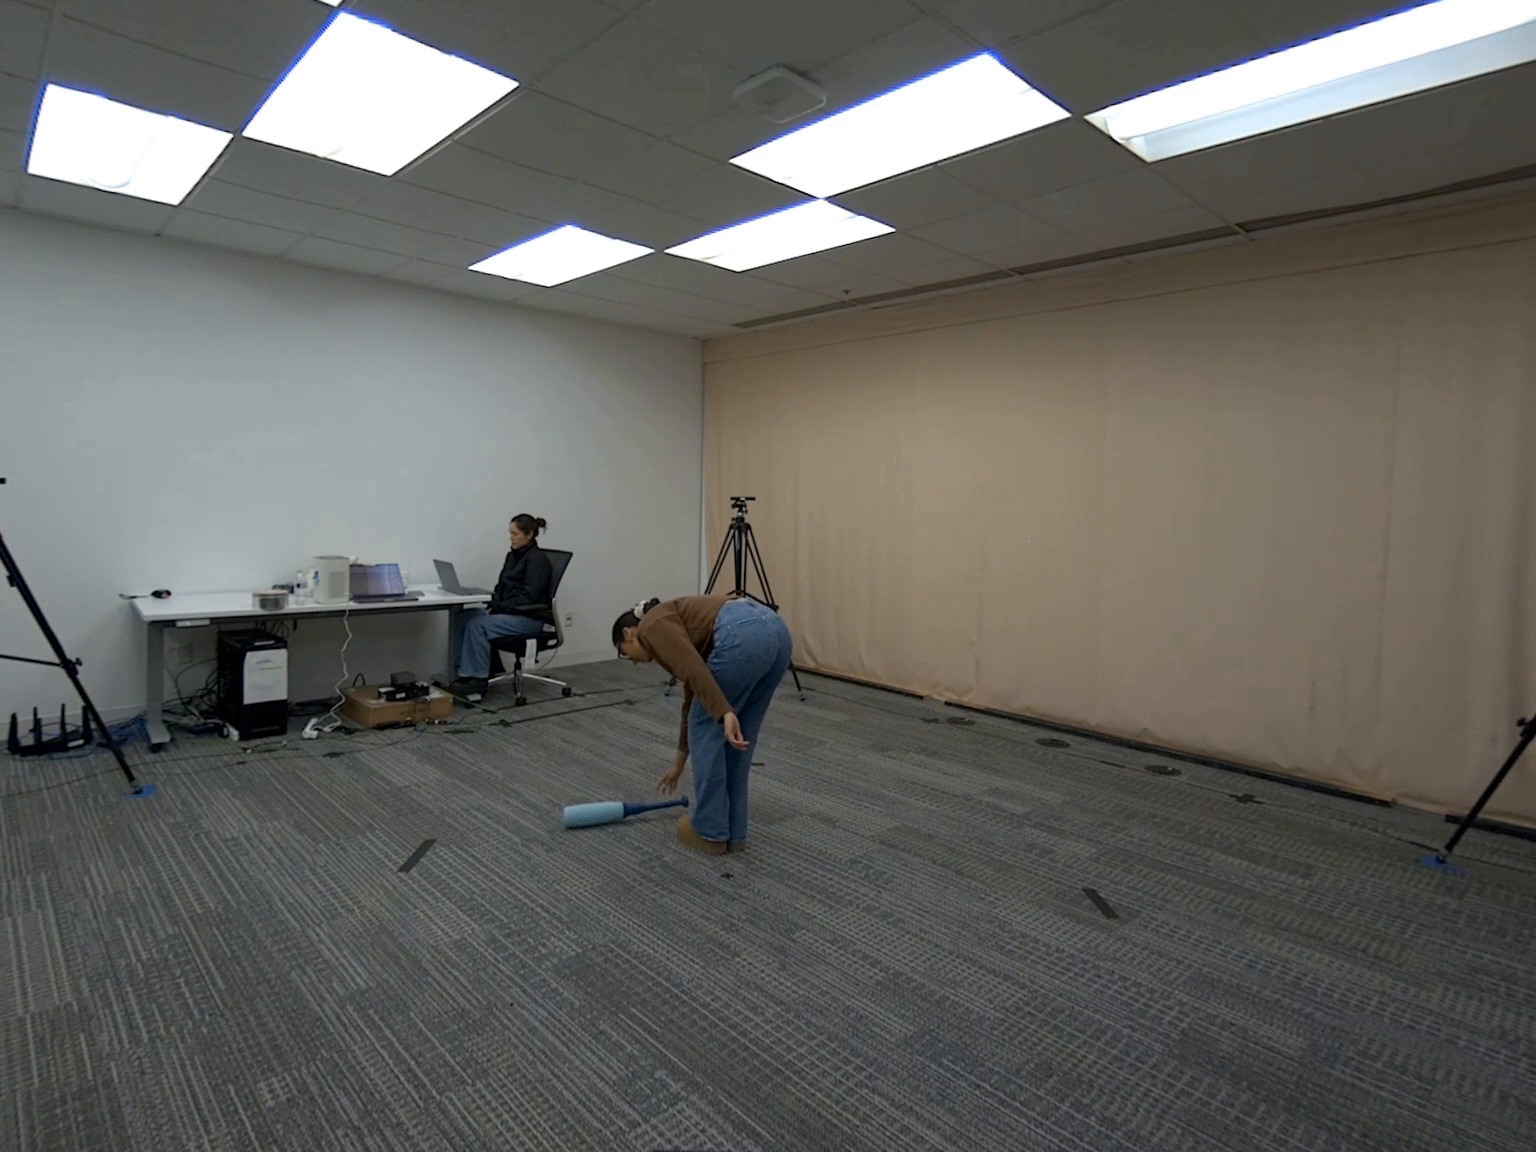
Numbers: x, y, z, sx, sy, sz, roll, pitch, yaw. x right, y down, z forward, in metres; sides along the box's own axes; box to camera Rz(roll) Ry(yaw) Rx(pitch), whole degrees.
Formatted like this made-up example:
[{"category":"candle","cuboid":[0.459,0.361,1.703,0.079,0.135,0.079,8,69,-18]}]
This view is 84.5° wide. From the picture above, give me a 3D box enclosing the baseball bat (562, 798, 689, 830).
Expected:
[{"category":"baseball bat","cuboid":[-0.610,1.000,3.592,0.535,0.089,0.090,0,5,-19]}]
